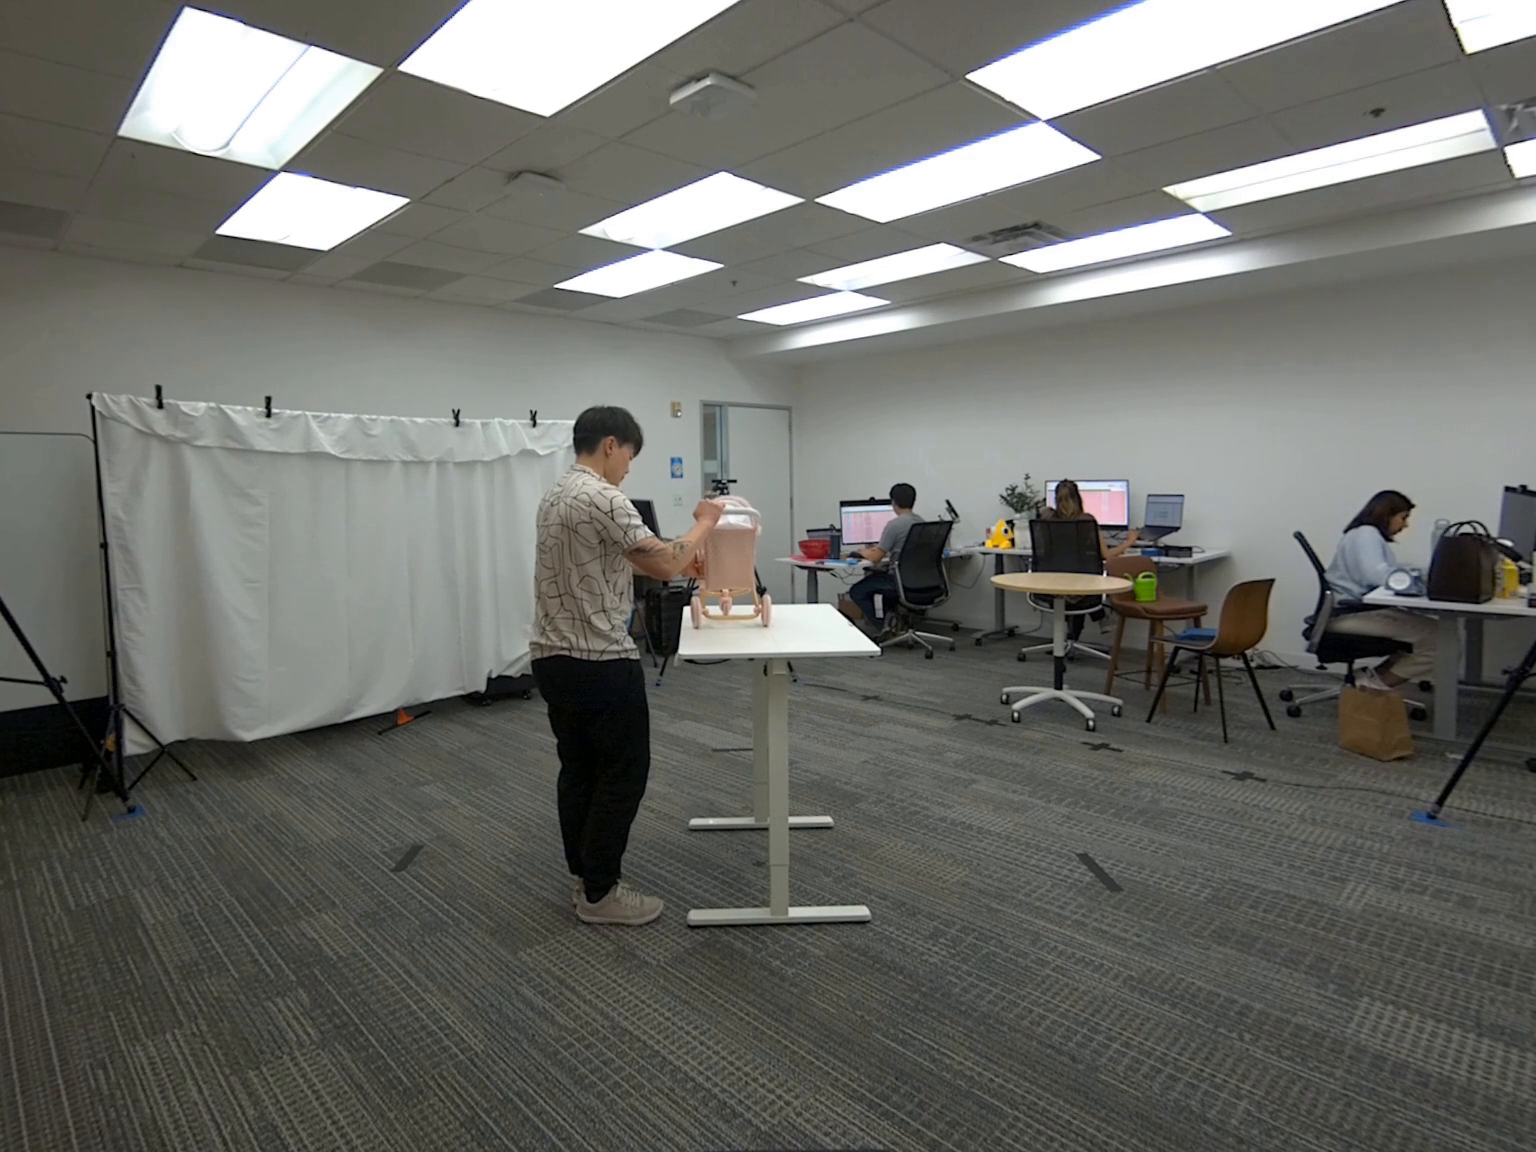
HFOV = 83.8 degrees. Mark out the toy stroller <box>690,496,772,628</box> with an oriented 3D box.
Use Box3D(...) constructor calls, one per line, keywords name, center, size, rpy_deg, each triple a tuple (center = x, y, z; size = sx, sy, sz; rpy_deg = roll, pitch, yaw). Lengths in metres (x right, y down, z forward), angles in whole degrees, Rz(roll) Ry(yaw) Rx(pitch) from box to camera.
Box3D(name="toy stroller", center=(-0.136, -0.045, 3.043), size=(0.281, 0.526, 0.348), rpy_deg=(-1, 20, -2))
